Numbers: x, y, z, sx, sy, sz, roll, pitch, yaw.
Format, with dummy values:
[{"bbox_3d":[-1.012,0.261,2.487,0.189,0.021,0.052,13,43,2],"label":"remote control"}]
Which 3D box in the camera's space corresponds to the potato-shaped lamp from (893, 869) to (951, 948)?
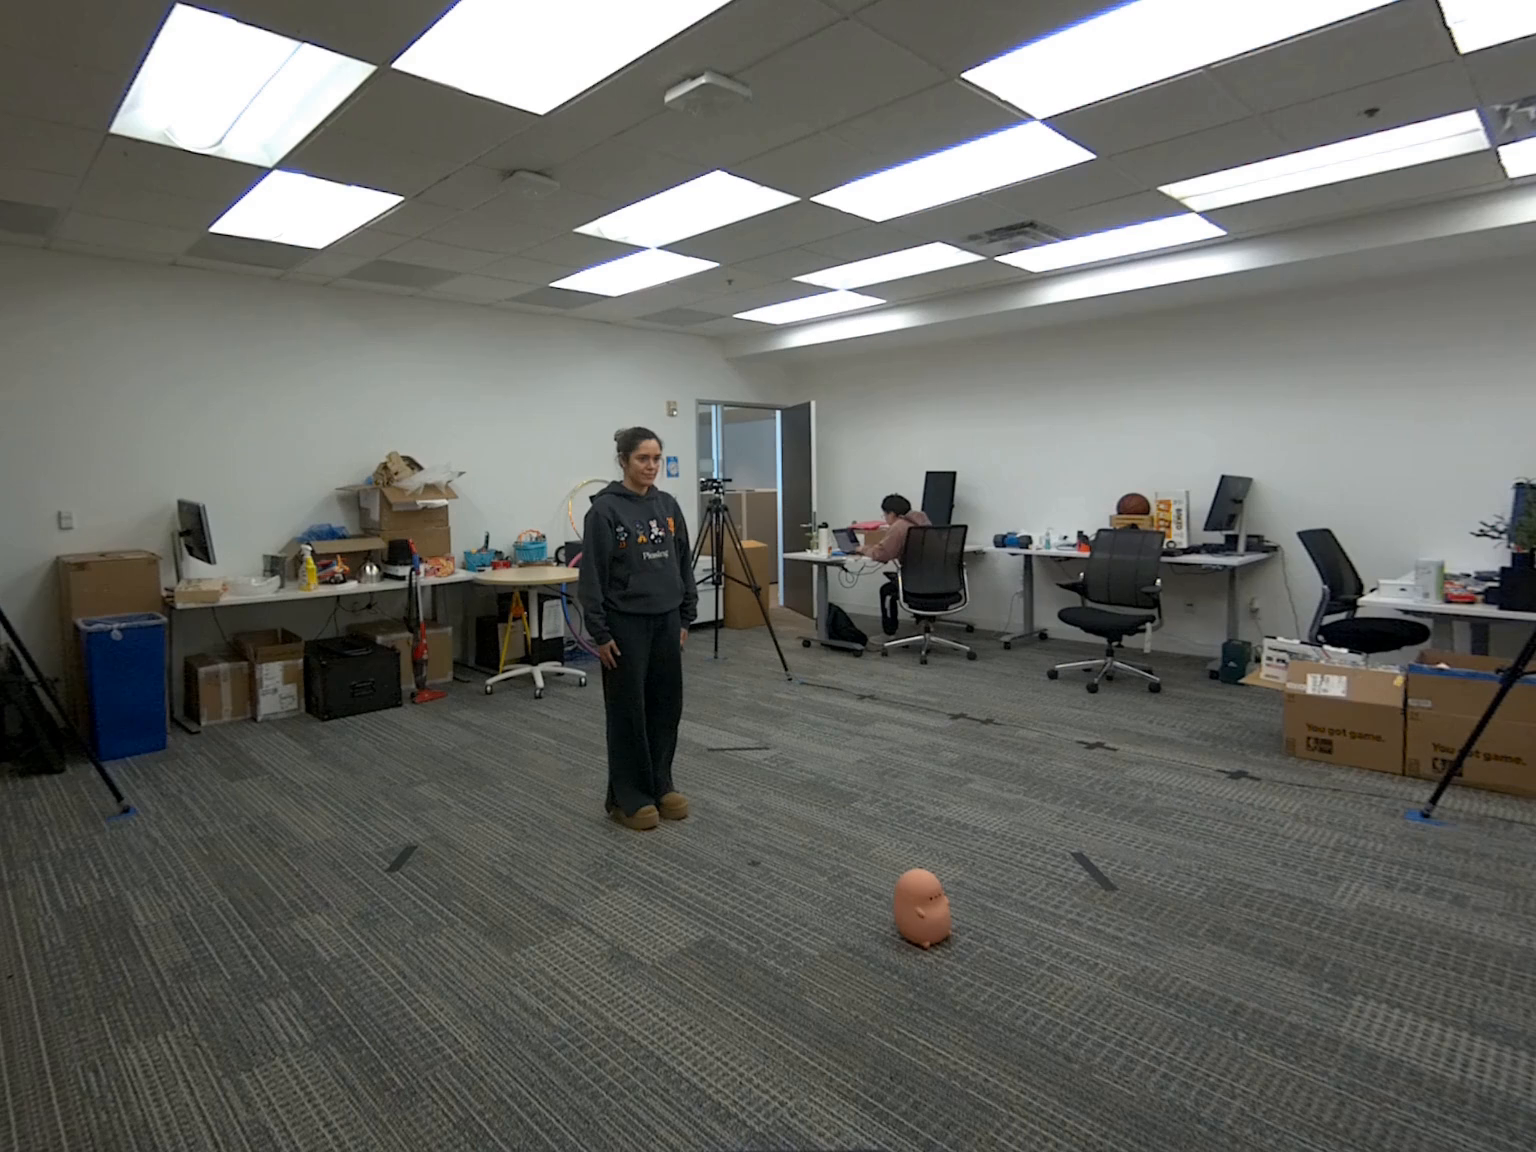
[{"bbox_3d":[0.469,0.997,2.581,0.160,0.197,0.176,-6,6,-39],"label":"potato-shaped lamp"}]
